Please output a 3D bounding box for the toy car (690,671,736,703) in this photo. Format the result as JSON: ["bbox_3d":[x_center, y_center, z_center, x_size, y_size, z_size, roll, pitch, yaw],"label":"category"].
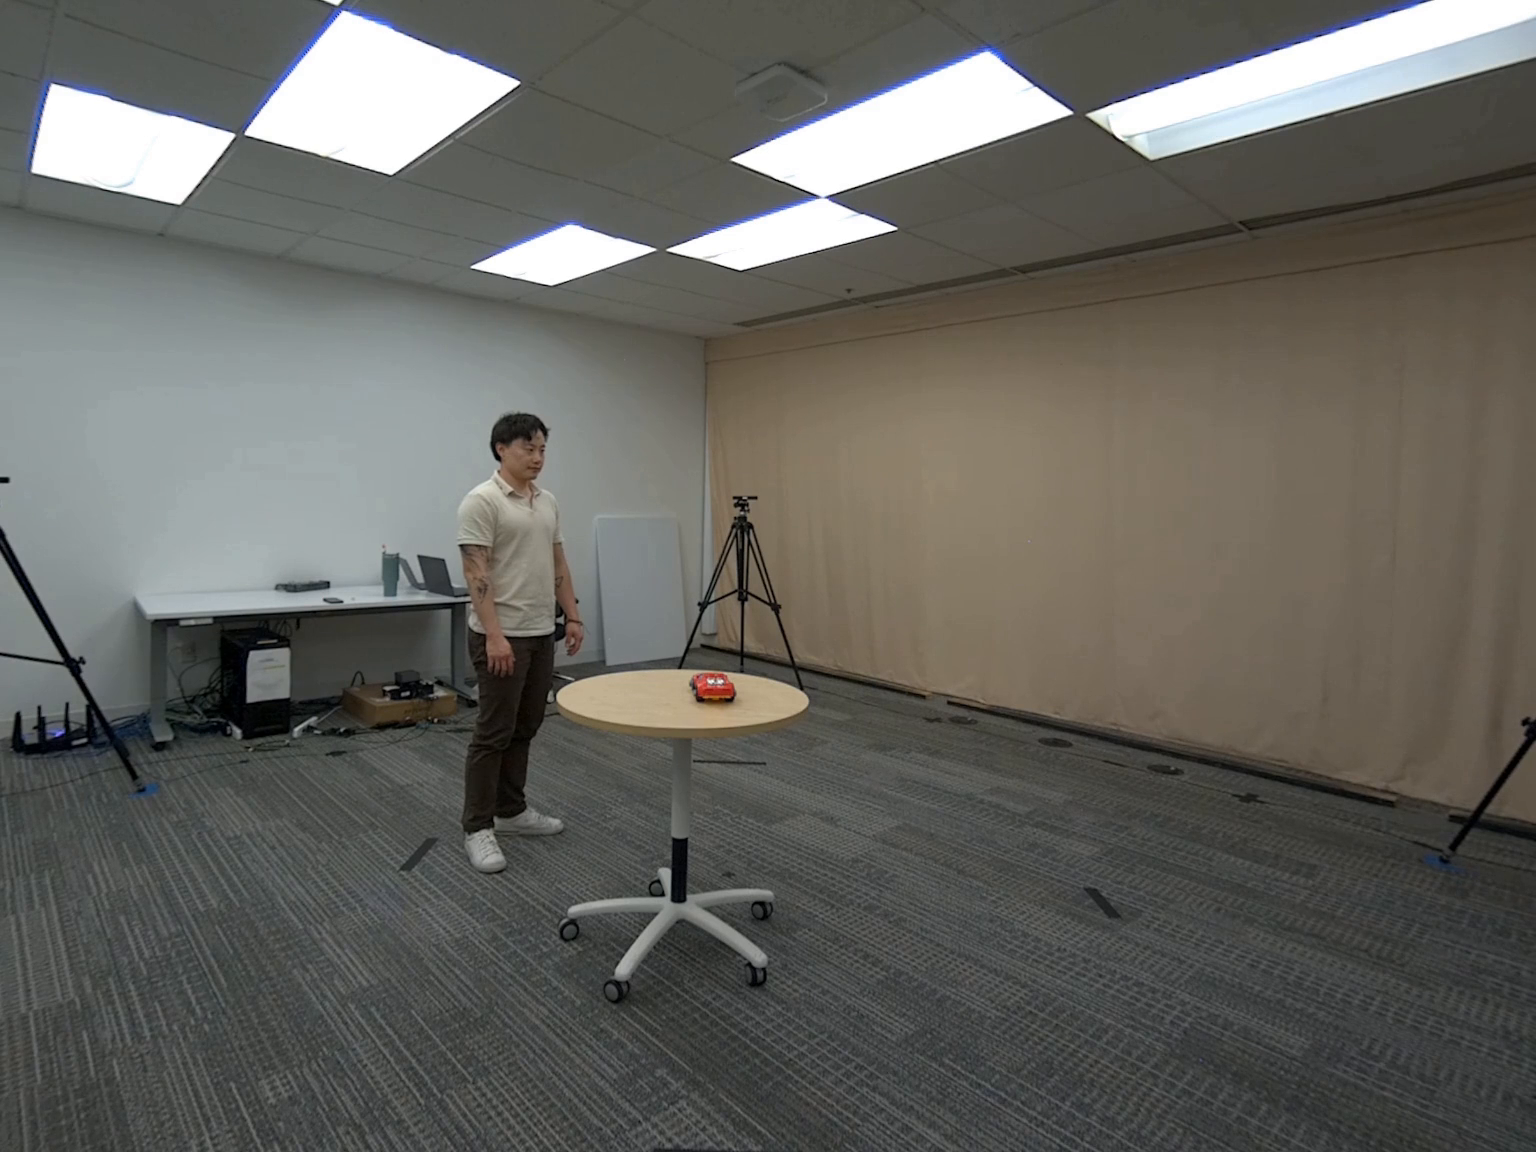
[{"bbox_3d":[-0.171,0.337,2.543,0.129,0.084,0.255,1,-7,-10],"label":"toy car"}]
